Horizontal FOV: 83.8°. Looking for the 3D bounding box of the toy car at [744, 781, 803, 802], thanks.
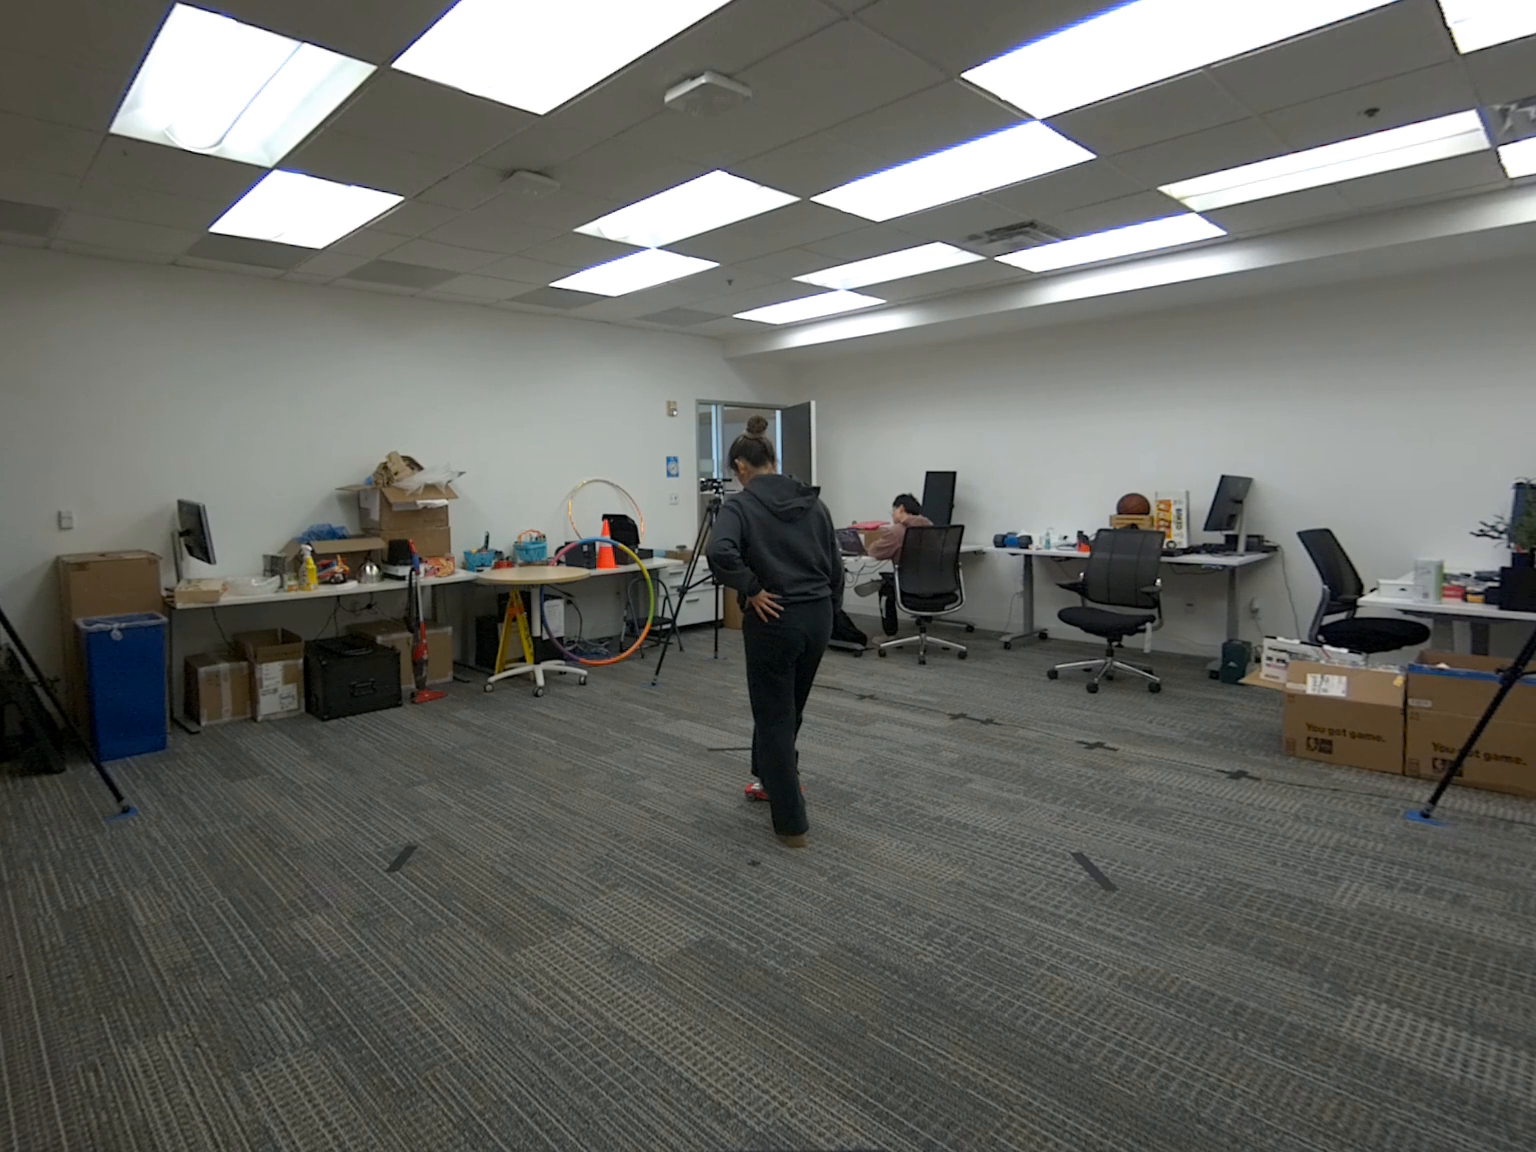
[{"bbox_3d":[0.038,0.947,3.718,0.258,0.083,0.129,-8,3,16],"label":"toy car"}]
